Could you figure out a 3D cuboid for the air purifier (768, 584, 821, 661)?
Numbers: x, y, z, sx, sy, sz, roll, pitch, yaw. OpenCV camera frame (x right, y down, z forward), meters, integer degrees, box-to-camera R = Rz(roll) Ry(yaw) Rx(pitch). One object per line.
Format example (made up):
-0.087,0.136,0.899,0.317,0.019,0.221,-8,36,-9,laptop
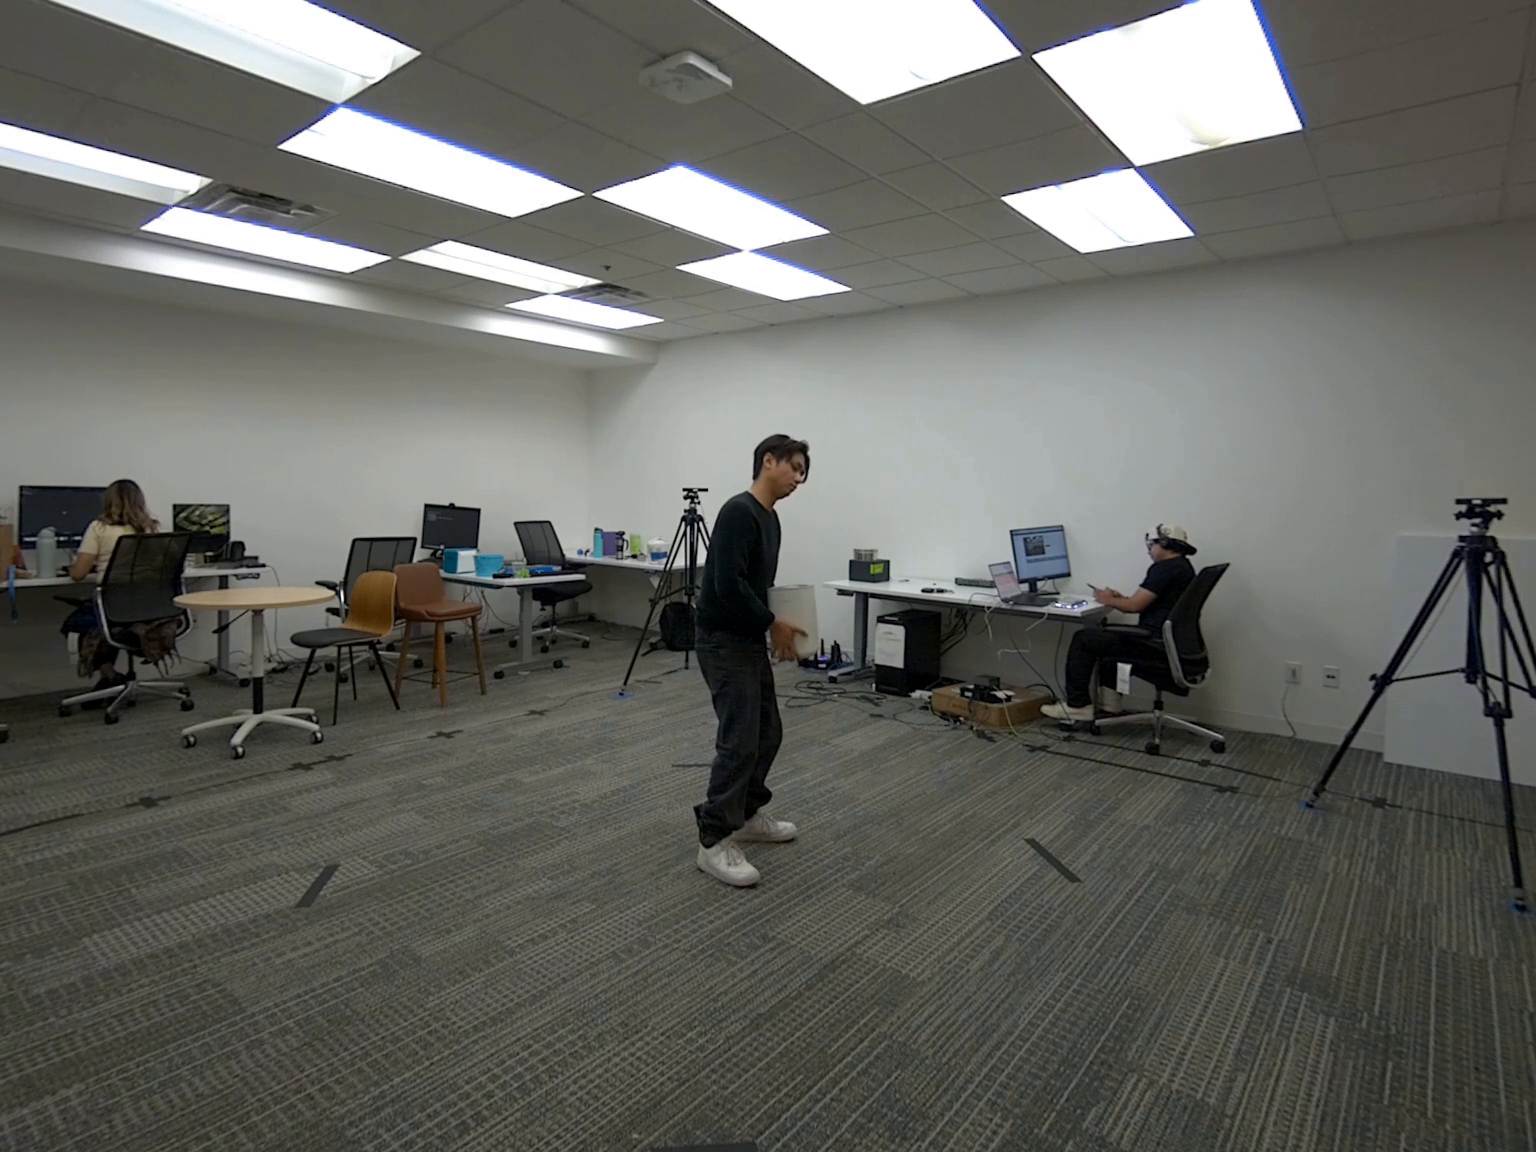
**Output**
0.091,0.177,3.221,0.171,0.265,0.171,-5,2,1,air purifier
